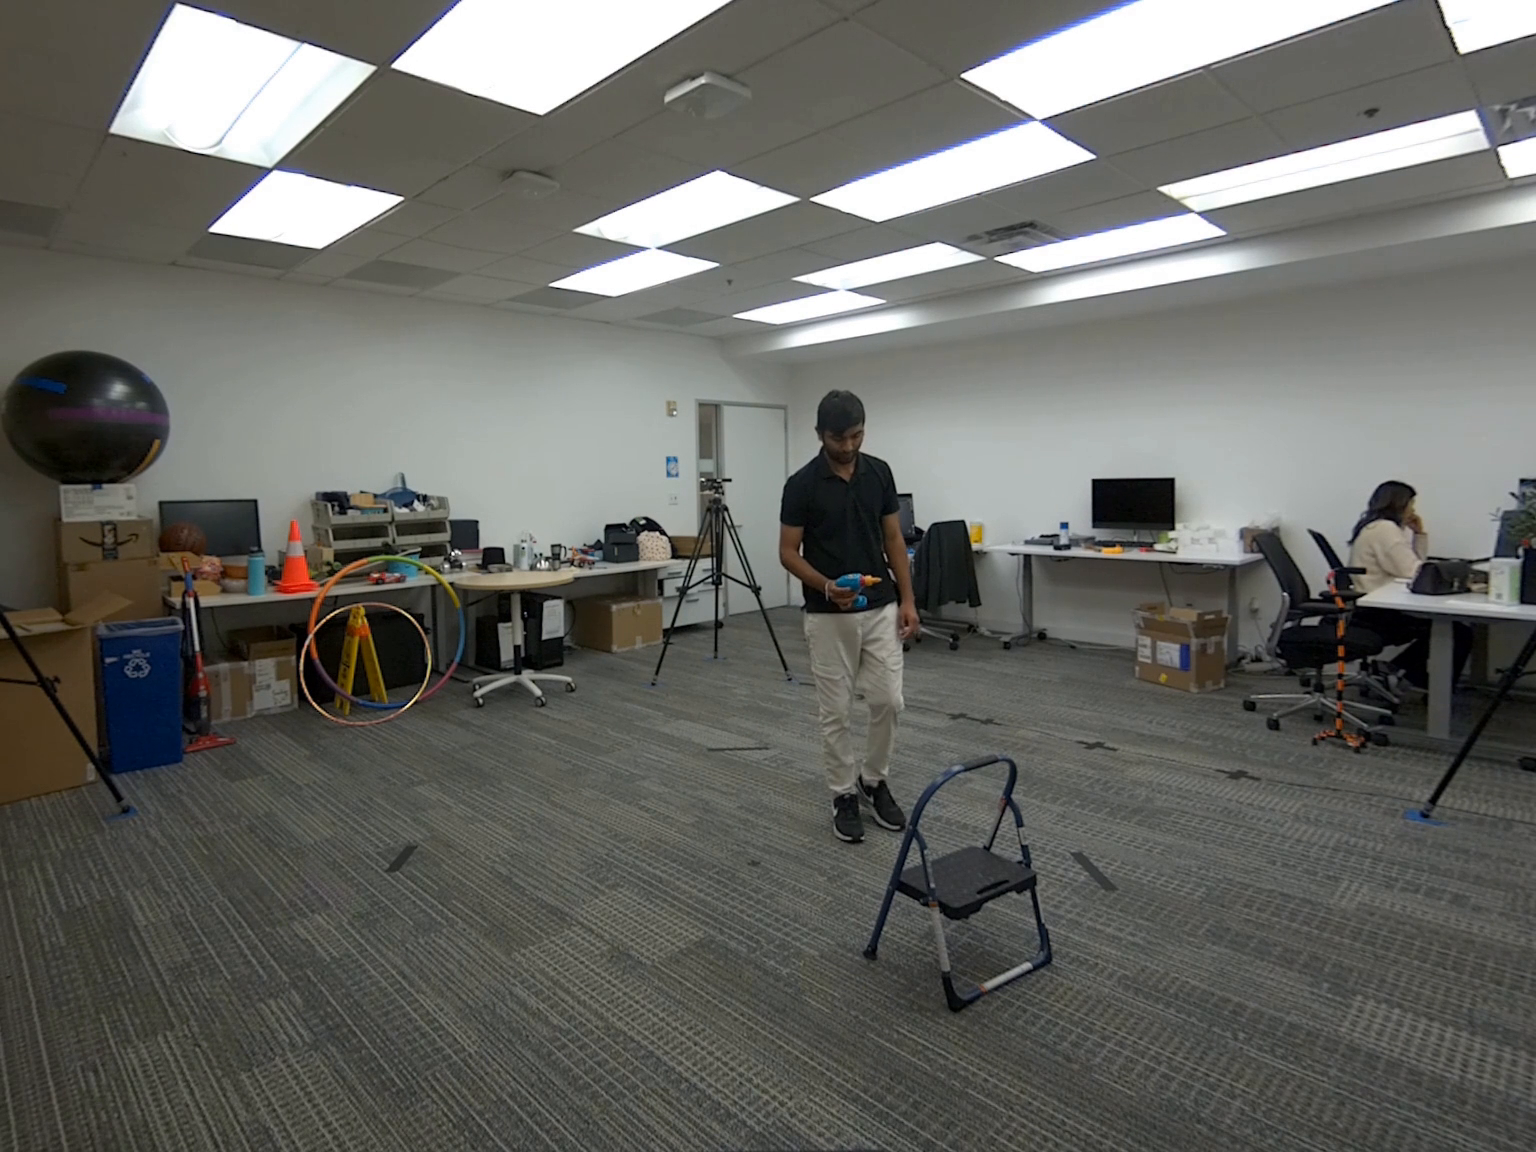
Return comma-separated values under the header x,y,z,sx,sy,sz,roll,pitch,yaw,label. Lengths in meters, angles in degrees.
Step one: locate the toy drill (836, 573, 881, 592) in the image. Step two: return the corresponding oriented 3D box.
x,y,z,sx,sy,sz,roll,pitch,yaw,label
0.322,0.052,3.071,0.173,0.141,0.062,-6,44,21,toy drill
